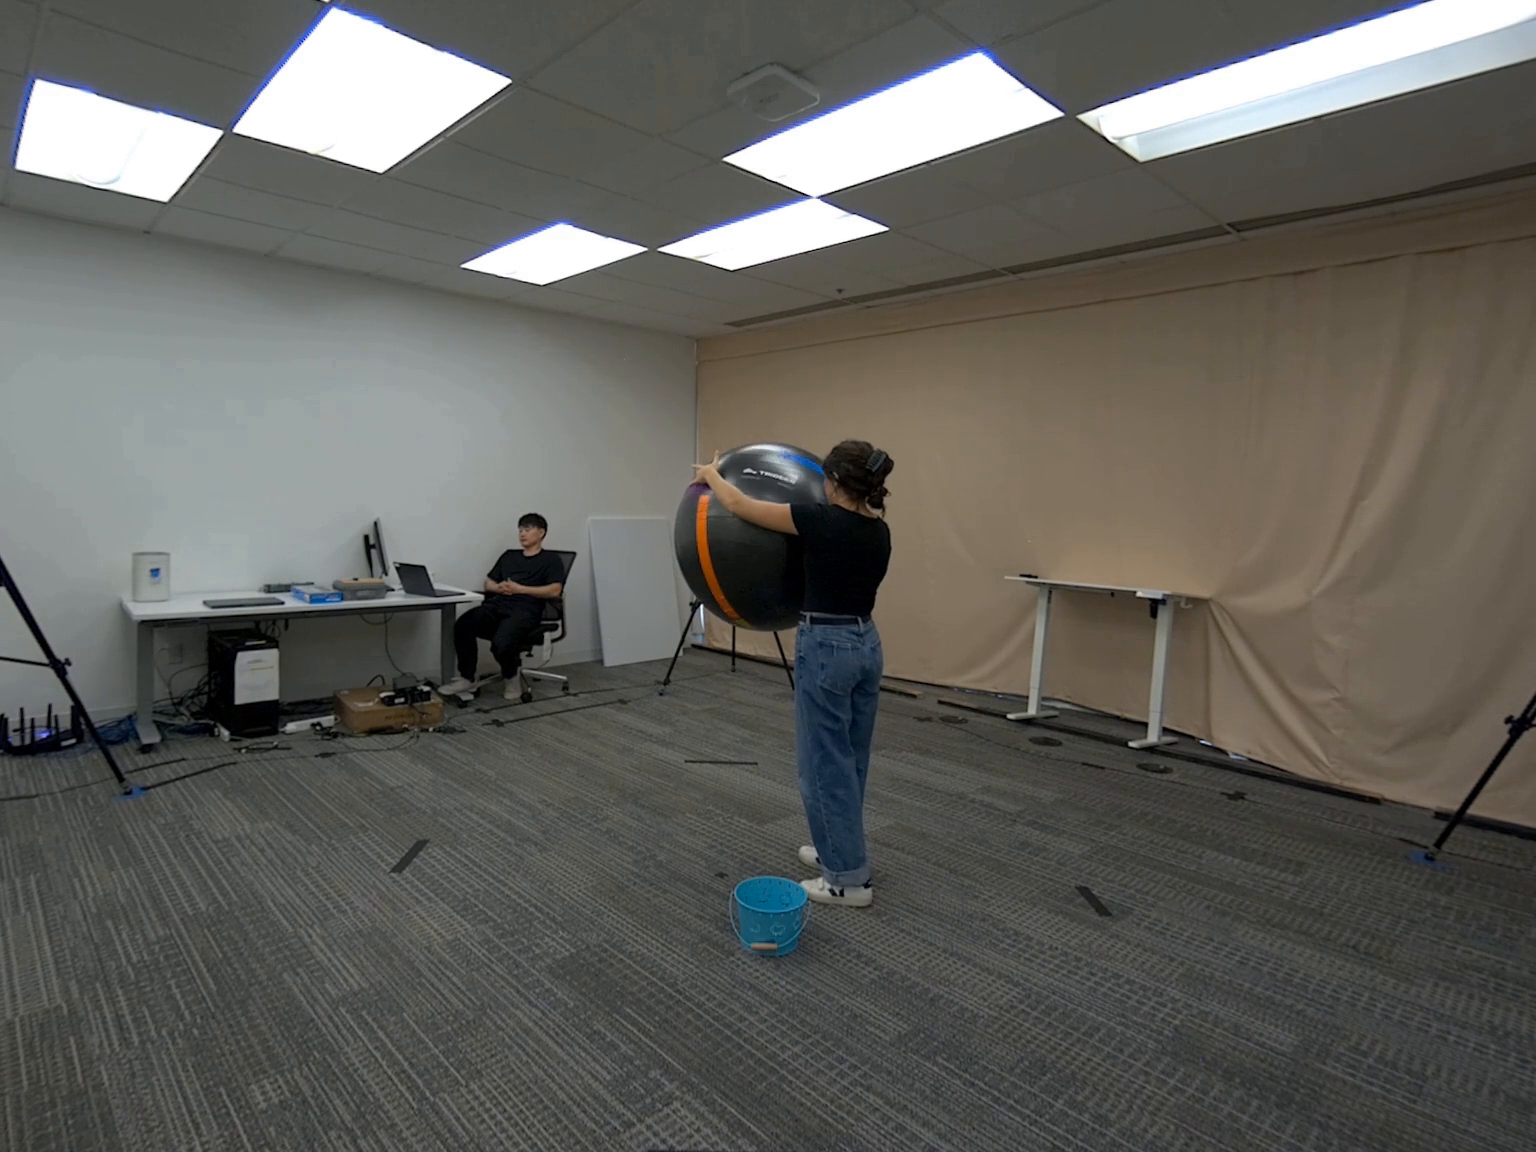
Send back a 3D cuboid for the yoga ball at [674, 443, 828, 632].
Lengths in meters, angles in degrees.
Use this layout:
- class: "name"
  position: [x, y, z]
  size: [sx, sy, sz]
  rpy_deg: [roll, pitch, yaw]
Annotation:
- class: "yoga ball"
  position: [-0.009, -0.154, 3.403]
  size: [0.757, 0.756, 0.761]
  rpy_deg: [1, 4, -1]
